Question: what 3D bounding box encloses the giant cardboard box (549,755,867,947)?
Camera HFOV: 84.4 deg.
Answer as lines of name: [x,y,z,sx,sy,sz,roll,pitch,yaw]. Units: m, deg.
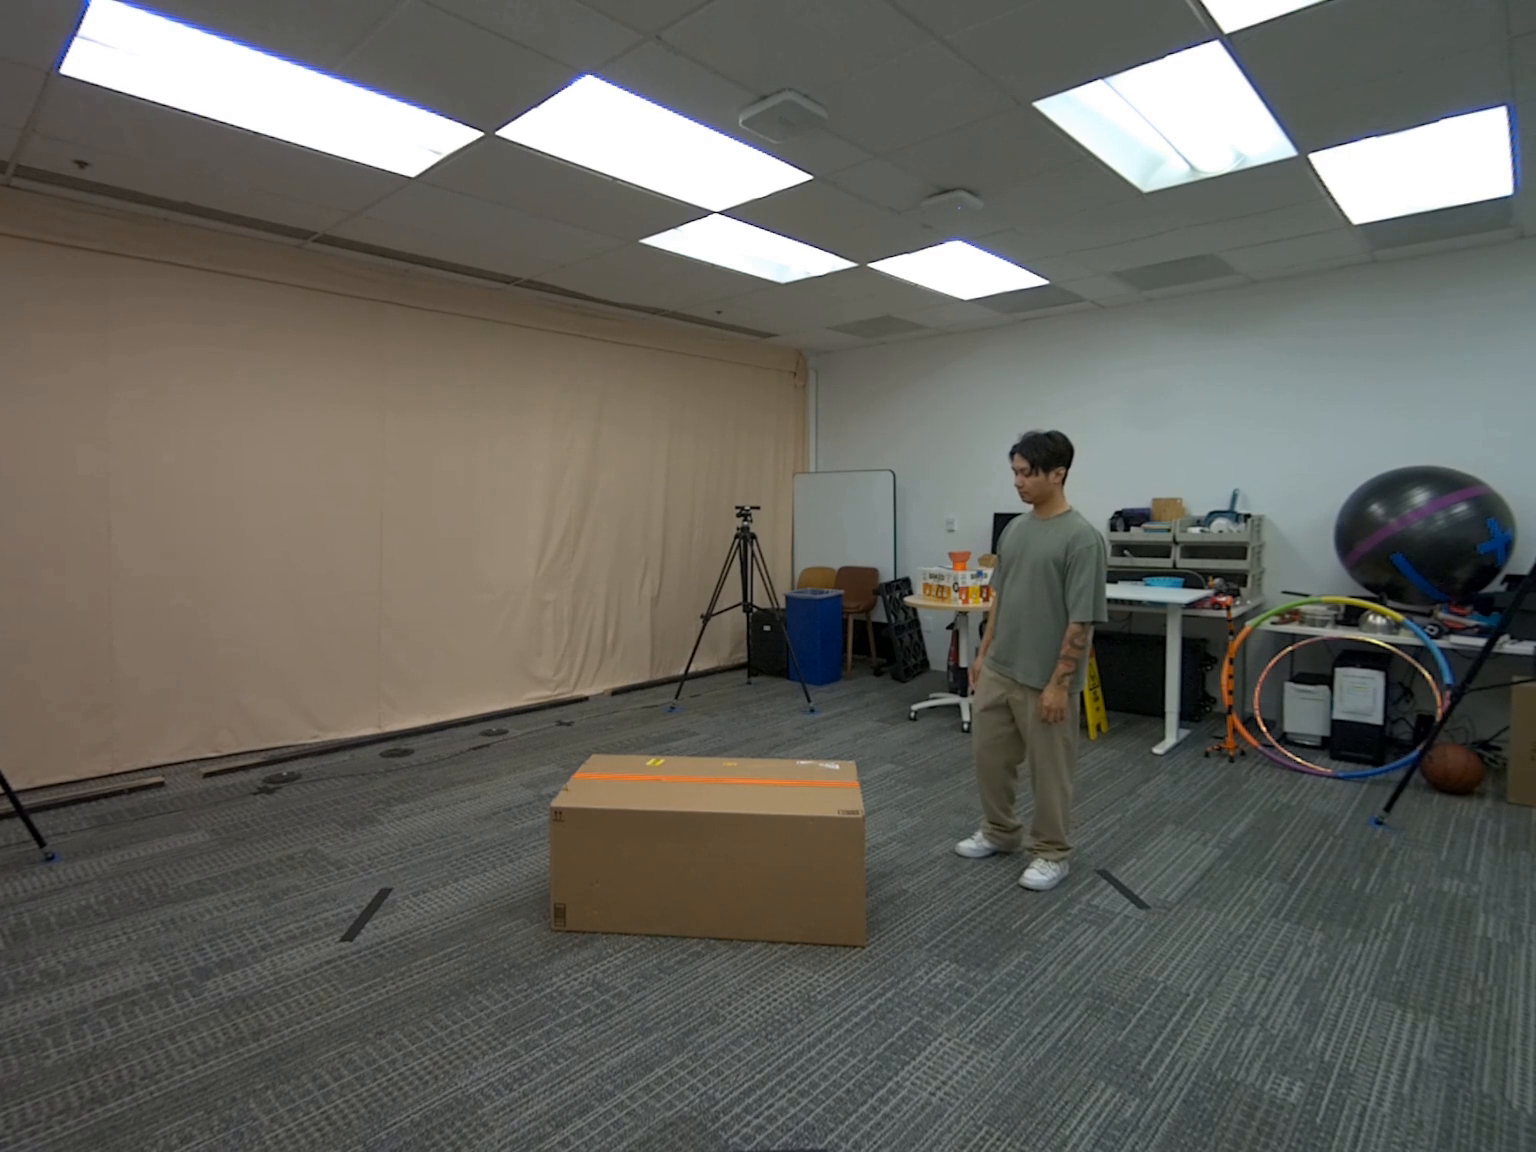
giant cardboard box: [-0.191,0.932,2.977,1.032,0.425,0.576,0,5,5]
